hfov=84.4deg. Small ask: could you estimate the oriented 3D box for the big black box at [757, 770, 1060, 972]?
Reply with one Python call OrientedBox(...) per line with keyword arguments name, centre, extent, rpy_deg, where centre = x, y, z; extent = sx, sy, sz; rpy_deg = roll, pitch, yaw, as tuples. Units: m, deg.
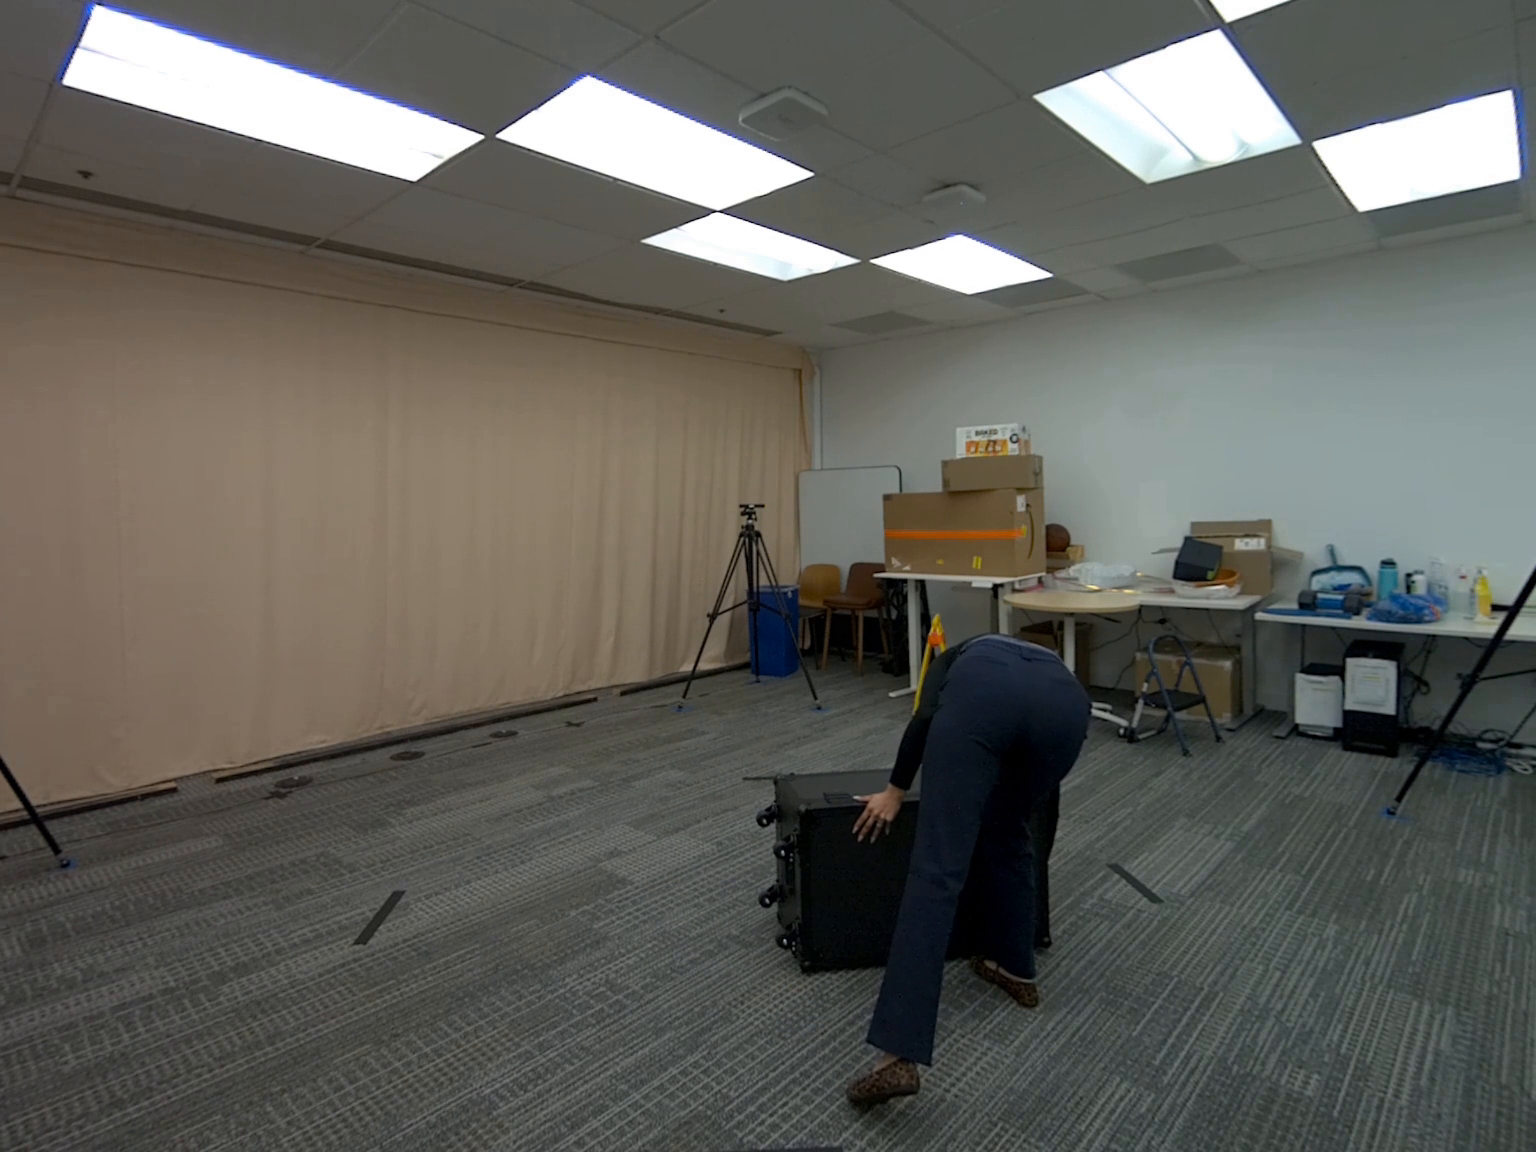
OrientedBox(name="big black box", centre=(0.410, 0.899, 2.710), extent=(0.853, 0.521, 0.400), rpy_deg=(-1, 0, -10))
